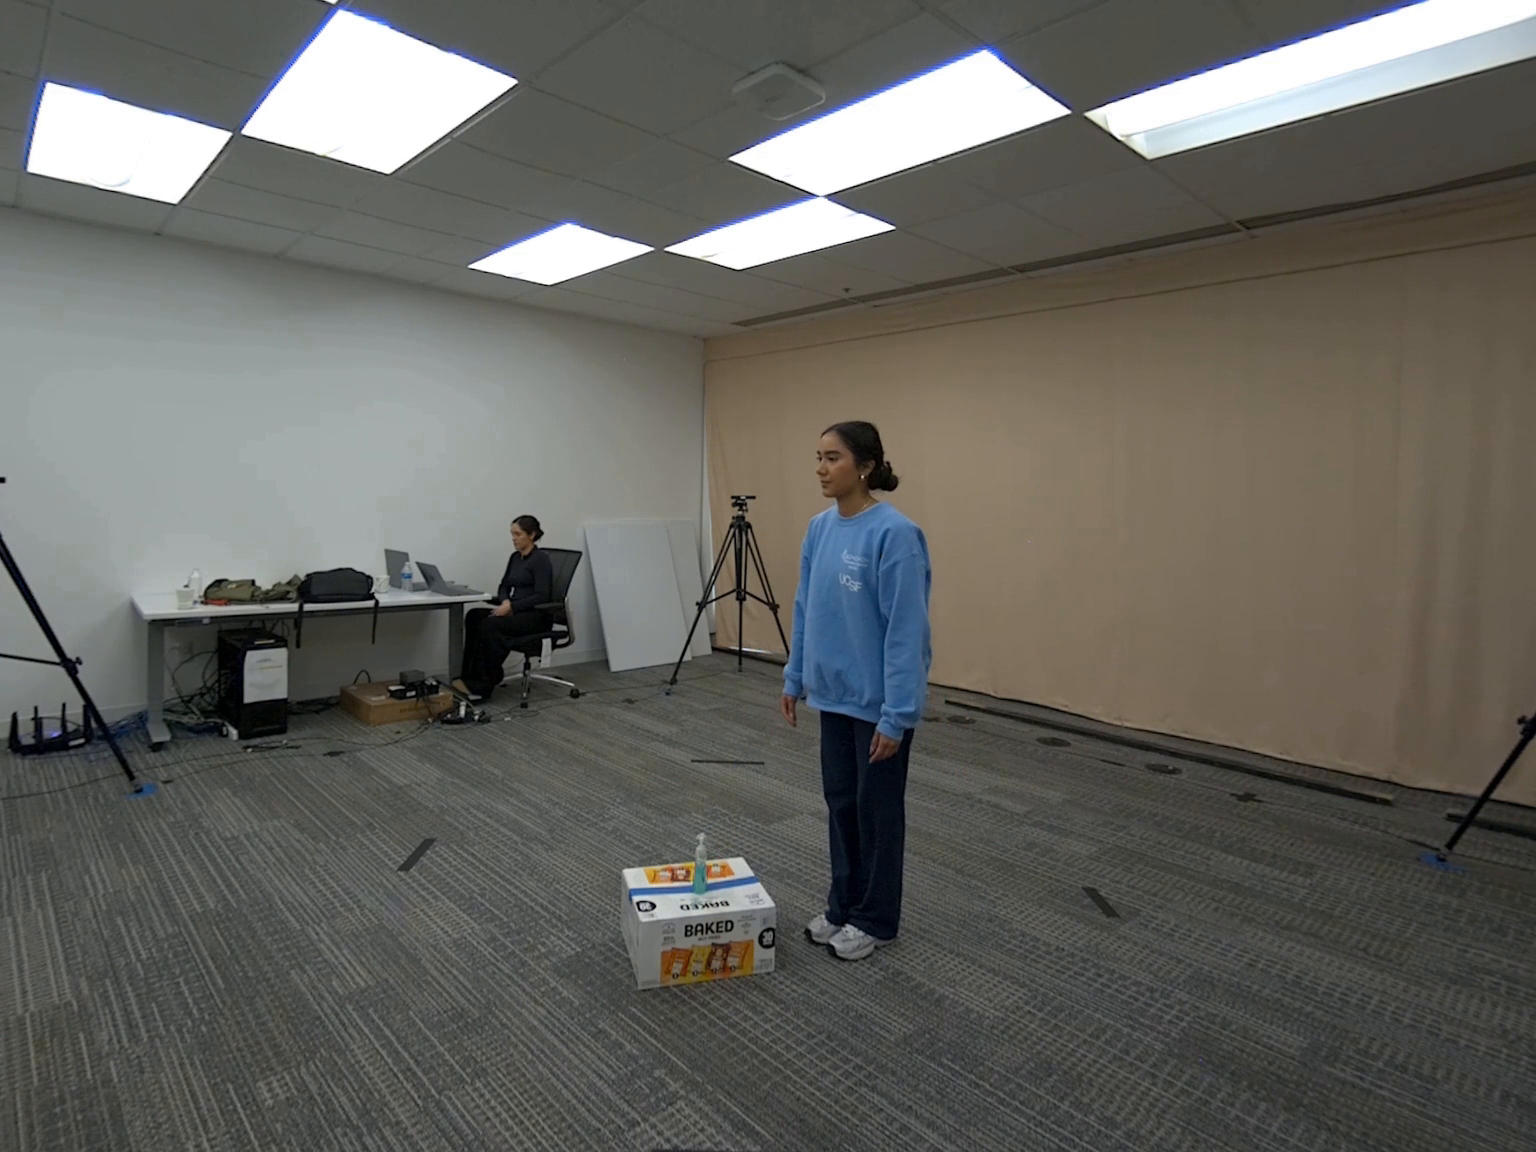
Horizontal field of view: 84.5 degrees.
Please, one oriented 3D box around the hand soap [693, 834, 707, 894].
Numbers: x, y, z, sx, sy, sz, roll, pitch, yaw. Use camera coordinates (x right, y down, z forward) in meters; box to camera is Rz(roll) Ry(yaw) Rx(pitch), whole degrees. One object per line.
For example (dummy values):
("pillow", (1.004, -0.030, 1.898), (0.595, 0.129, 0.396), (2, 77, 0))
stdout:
("hand soap", (-0.207, 0.870, 2.560), (0.044, 0.168, 0.084), (0, 2, 10))
